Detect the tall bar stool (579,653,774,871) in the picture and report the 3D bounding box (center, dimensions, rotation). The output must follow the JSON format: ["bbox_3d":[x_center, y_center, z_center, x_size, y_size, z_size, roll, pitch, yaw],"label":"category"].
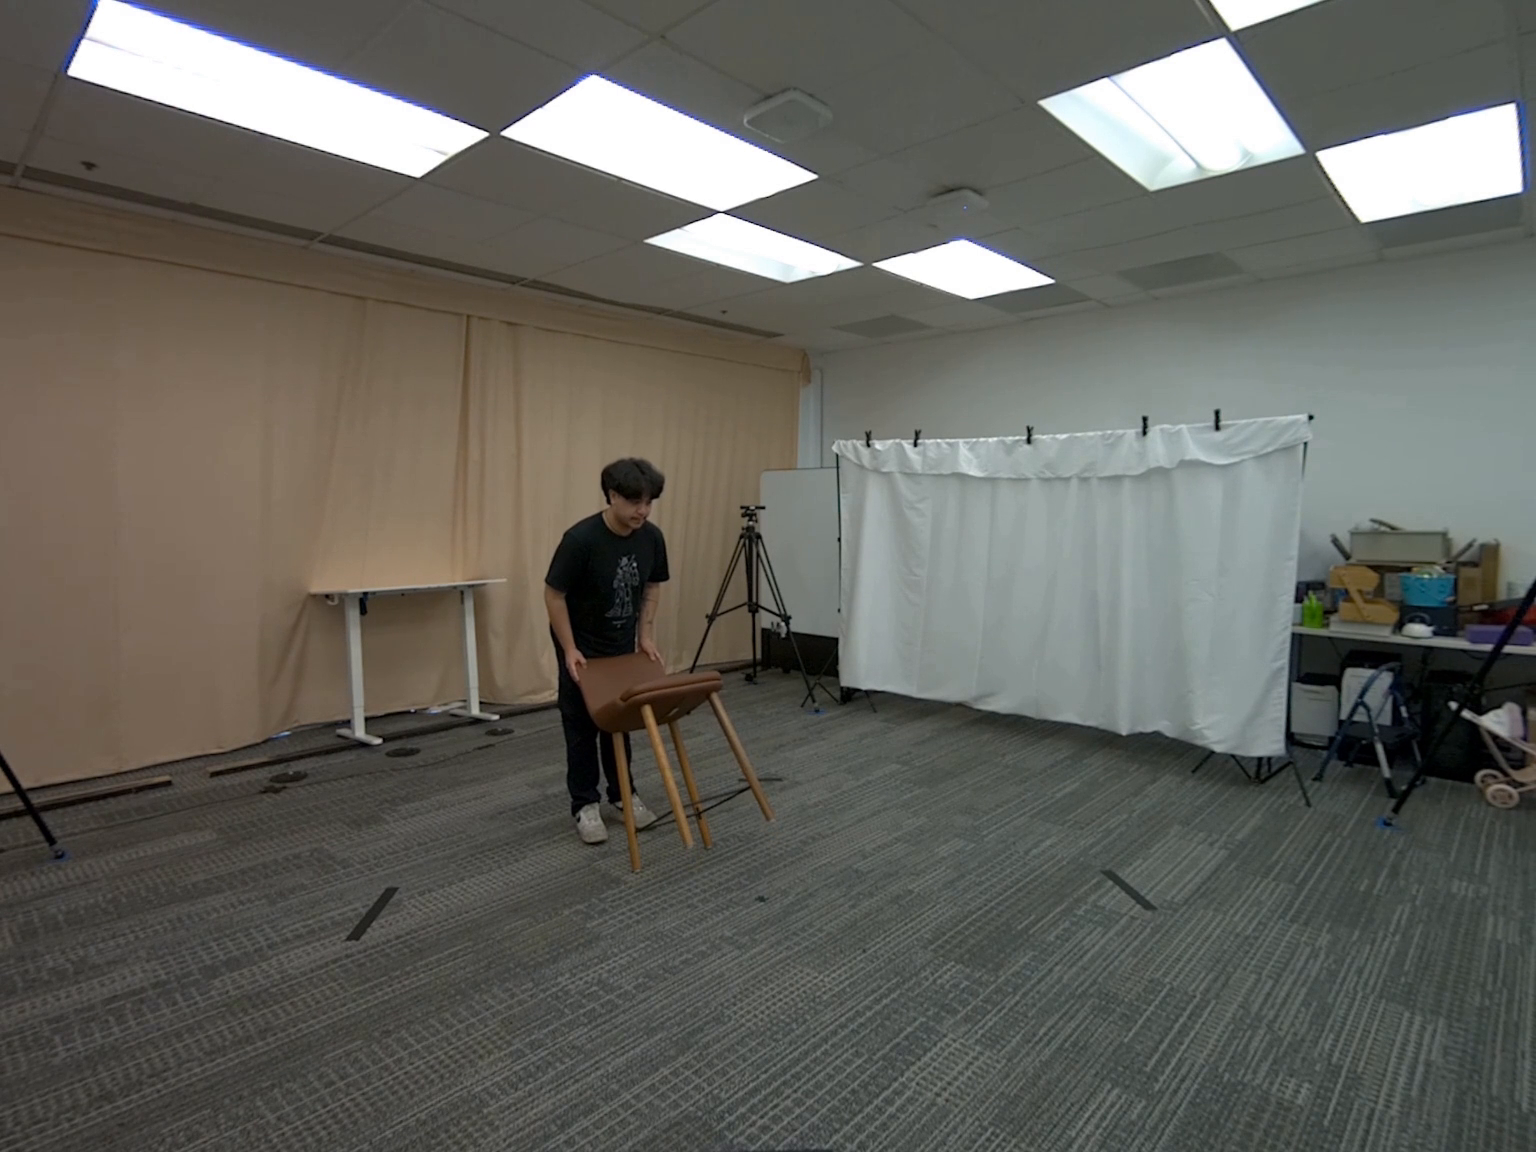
[{"bbox_3d":[-0.400,0.634,3.326,0.443,0.908,0.472,-4,-28,-39],"label":"tall bar stool"}]
